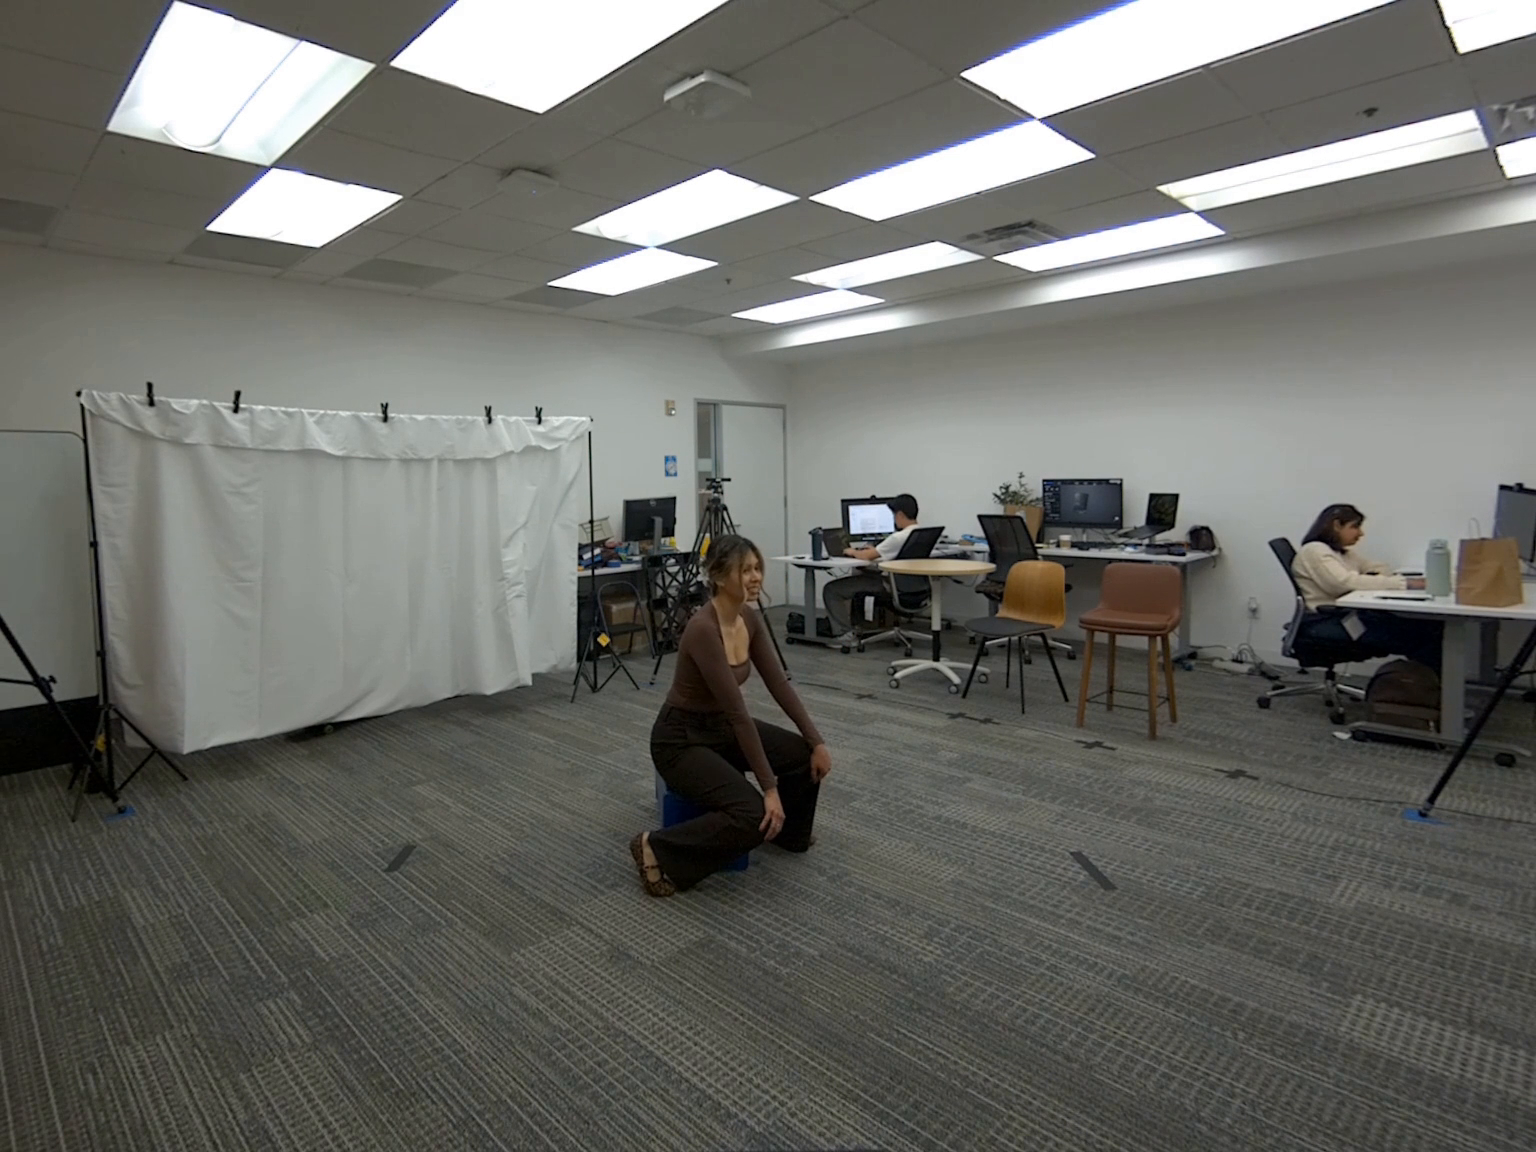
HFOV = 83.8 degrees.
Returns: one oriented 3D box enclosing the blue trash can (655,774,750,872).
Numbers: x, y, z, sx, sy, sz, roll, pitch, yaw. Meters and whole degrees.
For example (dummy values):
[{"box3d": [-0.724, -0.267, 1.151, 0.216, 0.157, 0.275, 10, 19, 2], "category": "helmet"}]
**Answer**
[{"box3d": [-0.249, 0.848, 3.377, 0.372, 0.375, 0.723, -1, 9, -8], "category": "blue trash can"}]
